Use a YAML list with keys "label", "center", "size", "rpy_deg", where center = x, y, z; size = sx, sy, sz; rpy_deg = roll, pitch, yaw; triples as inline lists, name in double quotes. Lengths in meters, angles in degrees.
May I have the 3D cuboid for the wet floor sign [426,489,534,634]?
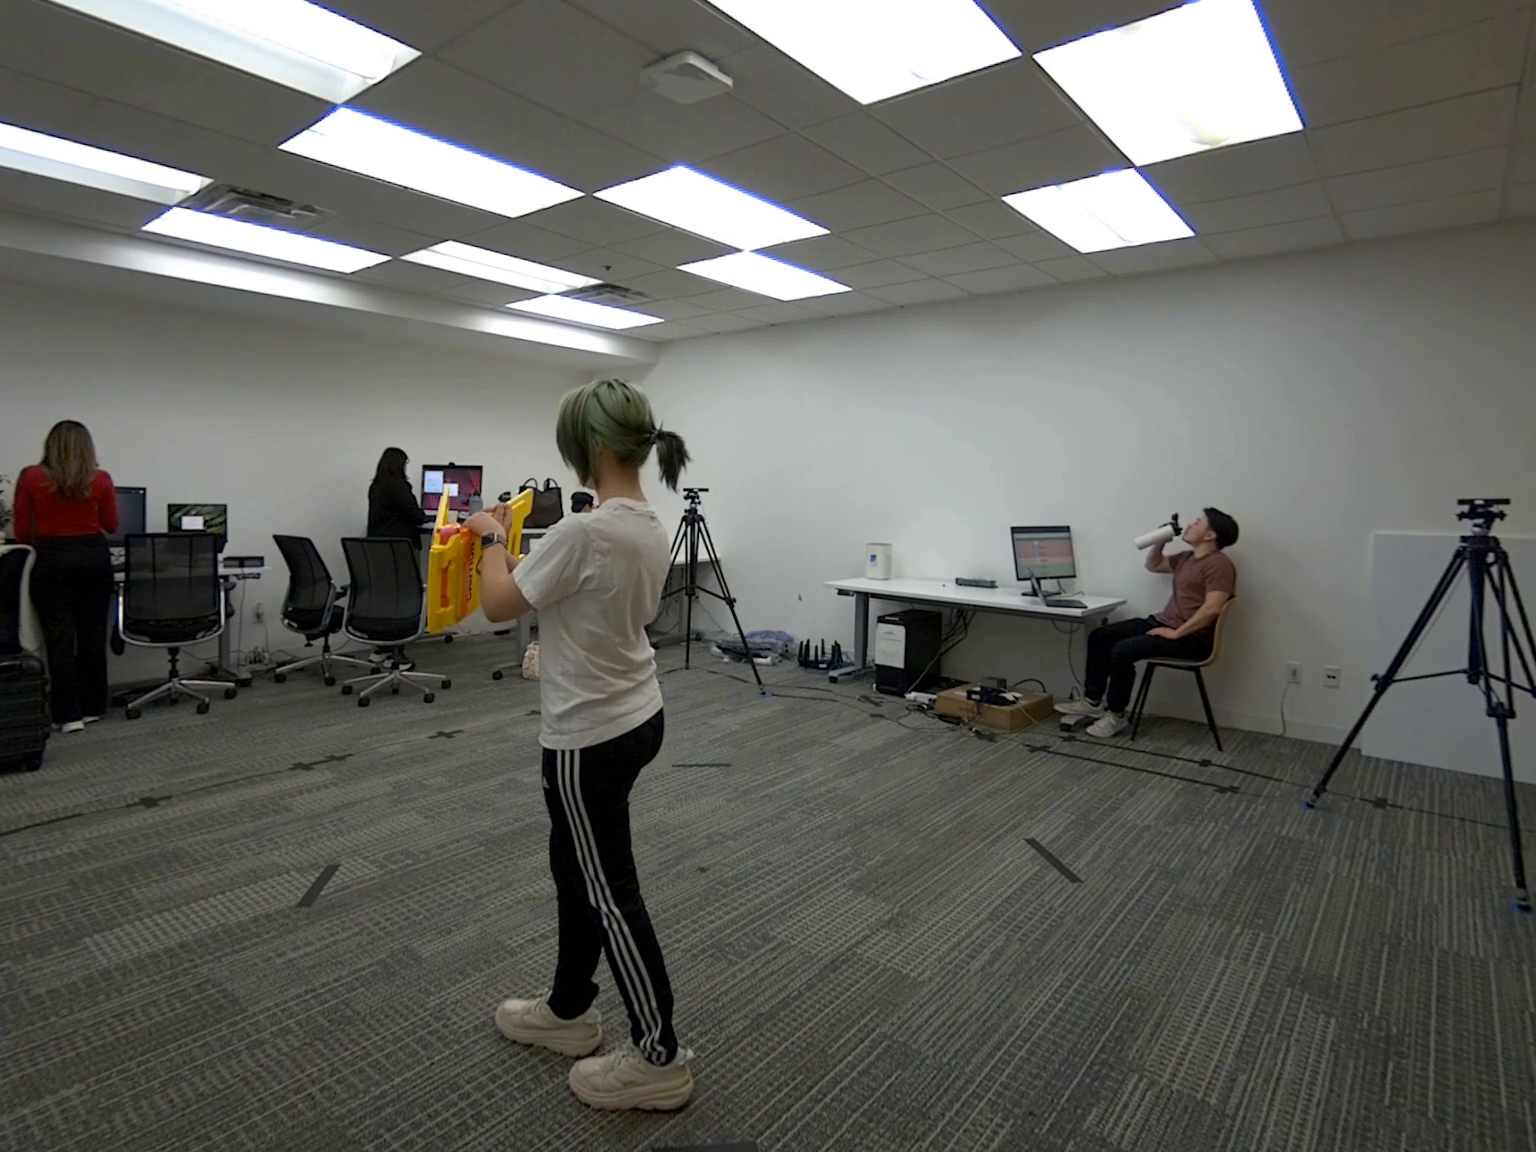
- label: "wet floor sign"
  center: [-0.803, -0.042, 2.217]
  size: [0.287, 0.279, 0.659]
  rpy_deg: [2, 14, -9]
